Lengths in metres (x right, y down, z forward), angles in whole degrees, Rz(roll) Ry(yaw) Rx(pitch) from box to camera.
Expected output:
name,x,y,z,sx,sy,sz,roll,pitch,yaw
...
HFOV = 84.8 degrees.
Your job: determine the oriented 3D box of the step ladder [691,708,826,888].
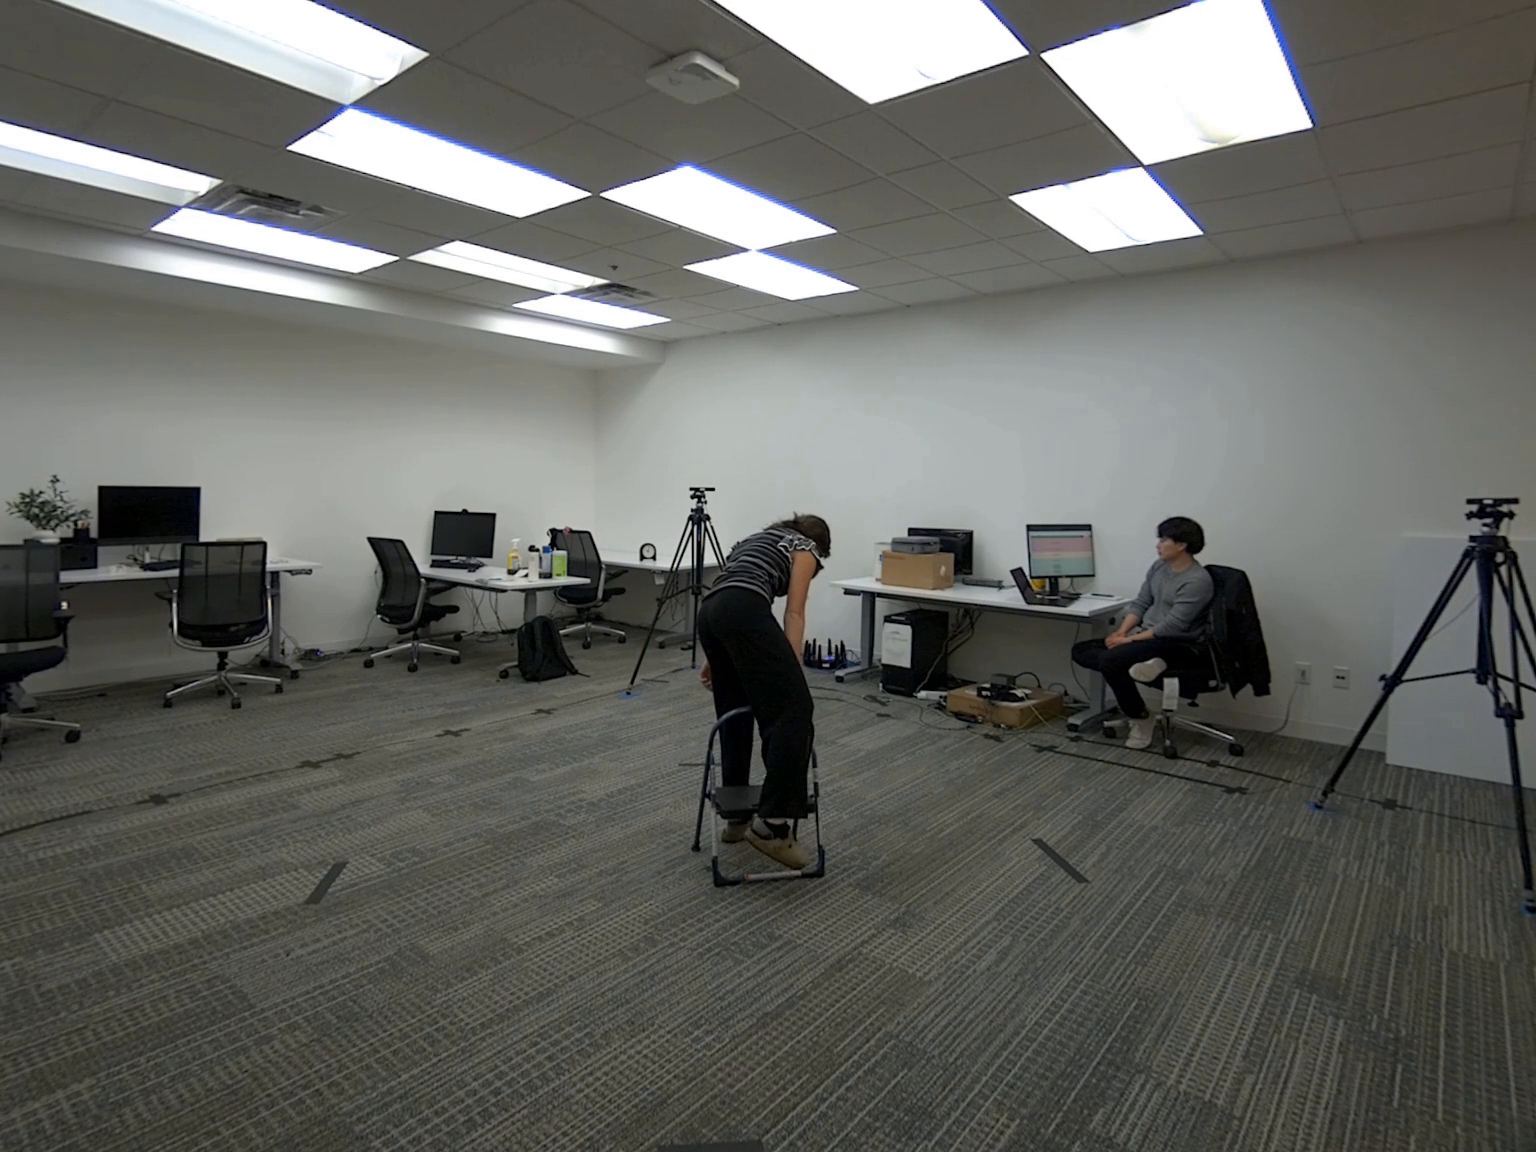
name,x,y,z,sx,sy,sz,roll,pitch,yaw
step ladder,-0.042,0.766,3.165,0.424,0.604,0.356,0,3,-16
